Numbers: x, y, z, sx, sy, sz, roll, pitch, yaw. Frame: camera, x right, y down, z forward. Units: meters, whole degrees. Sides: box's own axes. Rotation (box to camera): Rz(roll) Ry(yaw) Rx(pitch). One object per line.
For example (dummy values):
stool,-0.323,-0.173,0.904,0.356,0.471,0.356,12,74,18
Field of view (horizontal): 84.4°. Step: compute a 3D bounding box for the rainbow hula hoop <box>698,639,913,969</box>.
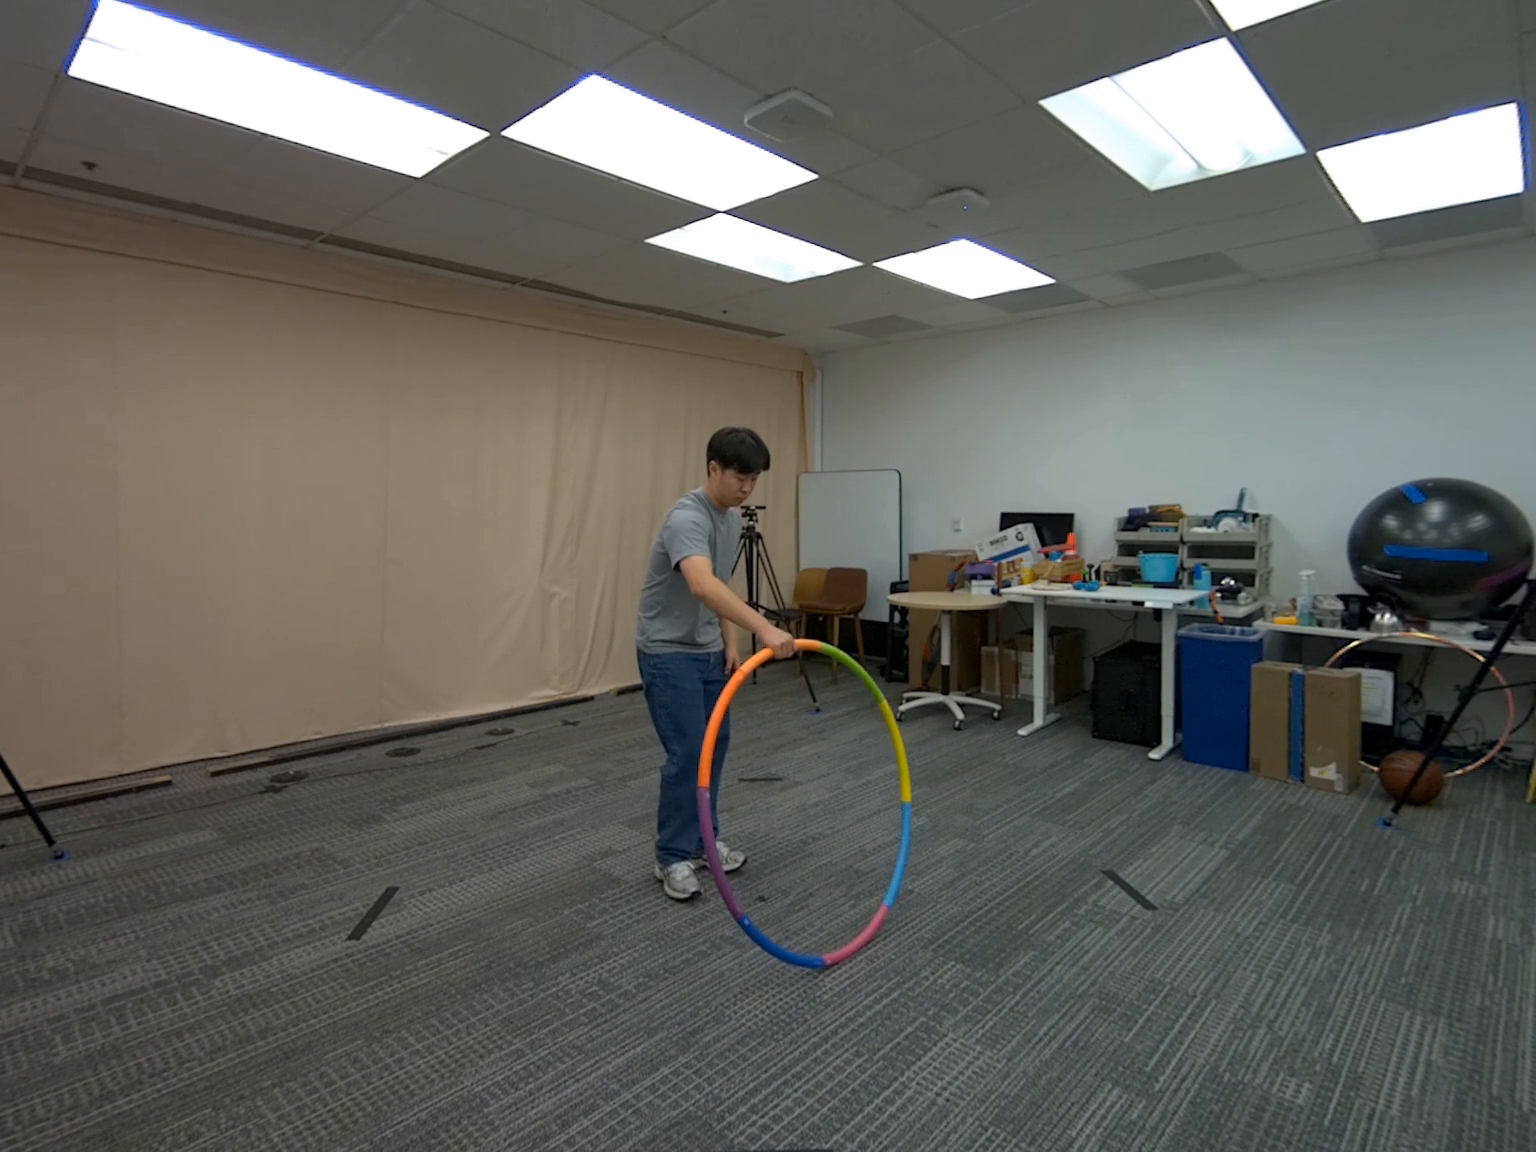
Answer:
rainbow hula hoop,0.163,0.695,2.657,0.948,0.985,0.036,-4,-10,-45
